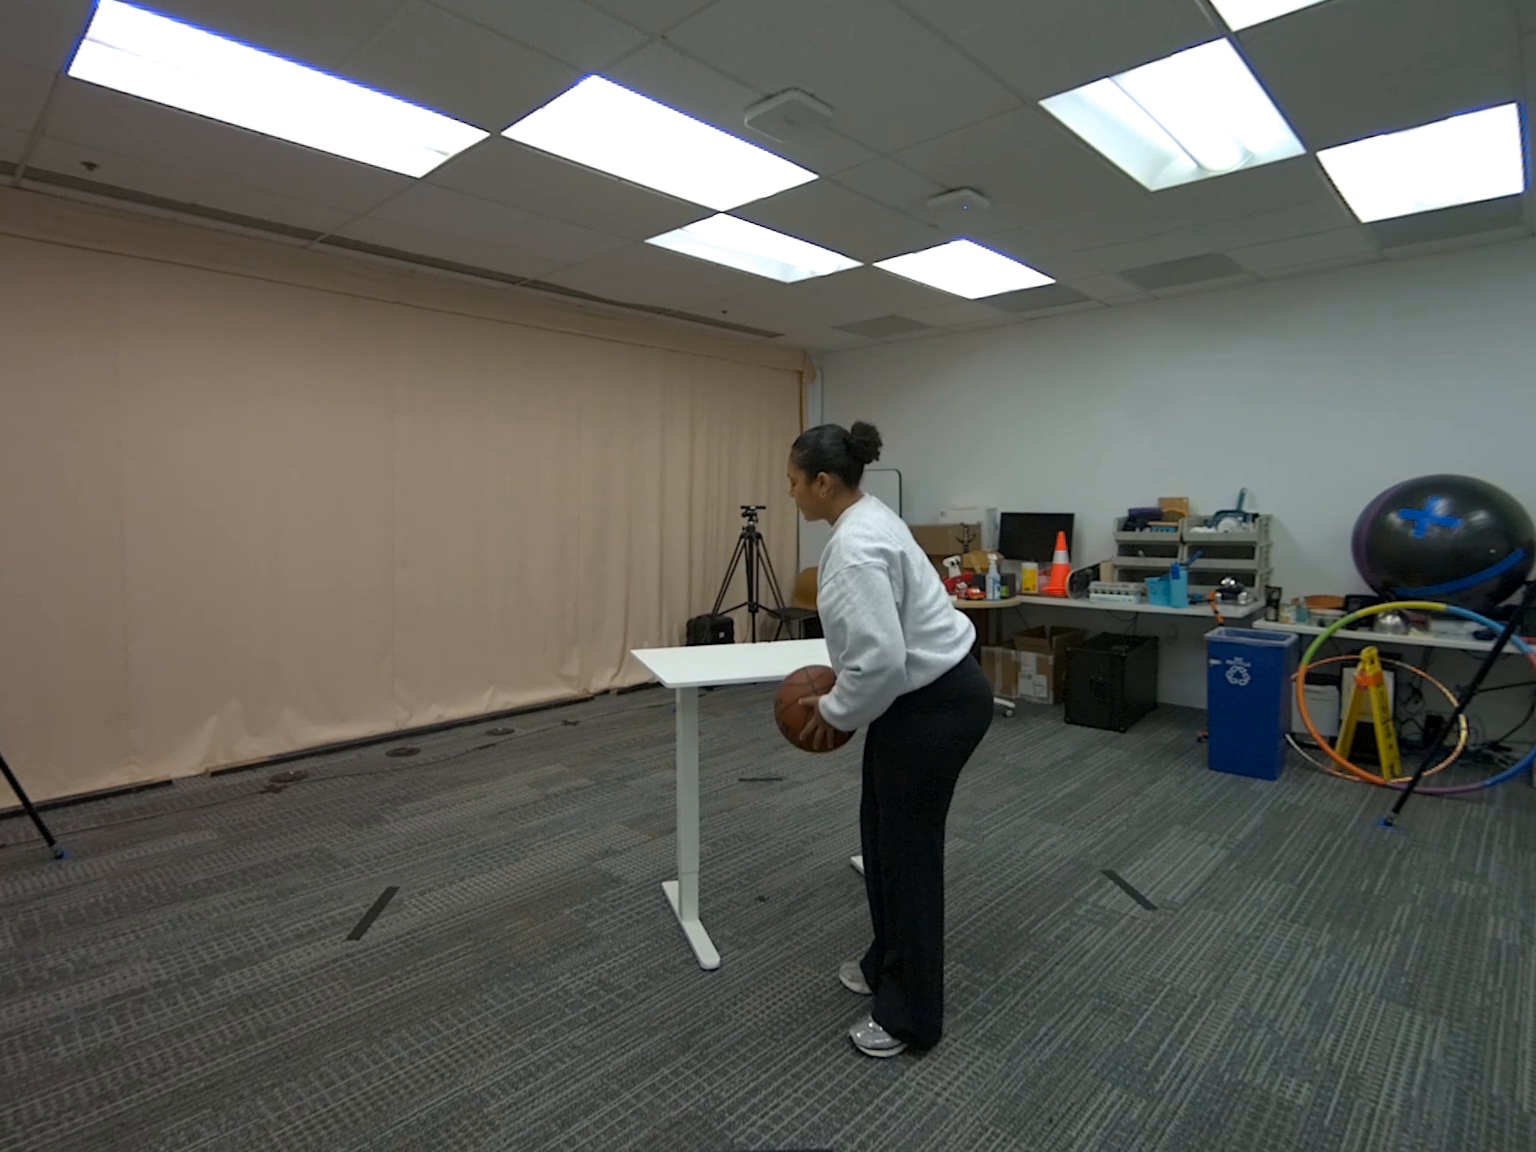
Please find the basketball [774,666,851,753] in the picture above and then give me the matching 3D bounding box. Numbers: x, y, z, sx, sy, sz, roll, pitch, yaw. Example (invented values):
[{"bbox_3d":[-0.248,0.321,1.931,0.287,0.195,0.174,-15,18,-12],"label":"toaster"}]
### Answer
[{"bbox_3d":[0.140,0.371,2.315,0.236,0.235,0.237,0,4,-2],"label":"basketball"}]
